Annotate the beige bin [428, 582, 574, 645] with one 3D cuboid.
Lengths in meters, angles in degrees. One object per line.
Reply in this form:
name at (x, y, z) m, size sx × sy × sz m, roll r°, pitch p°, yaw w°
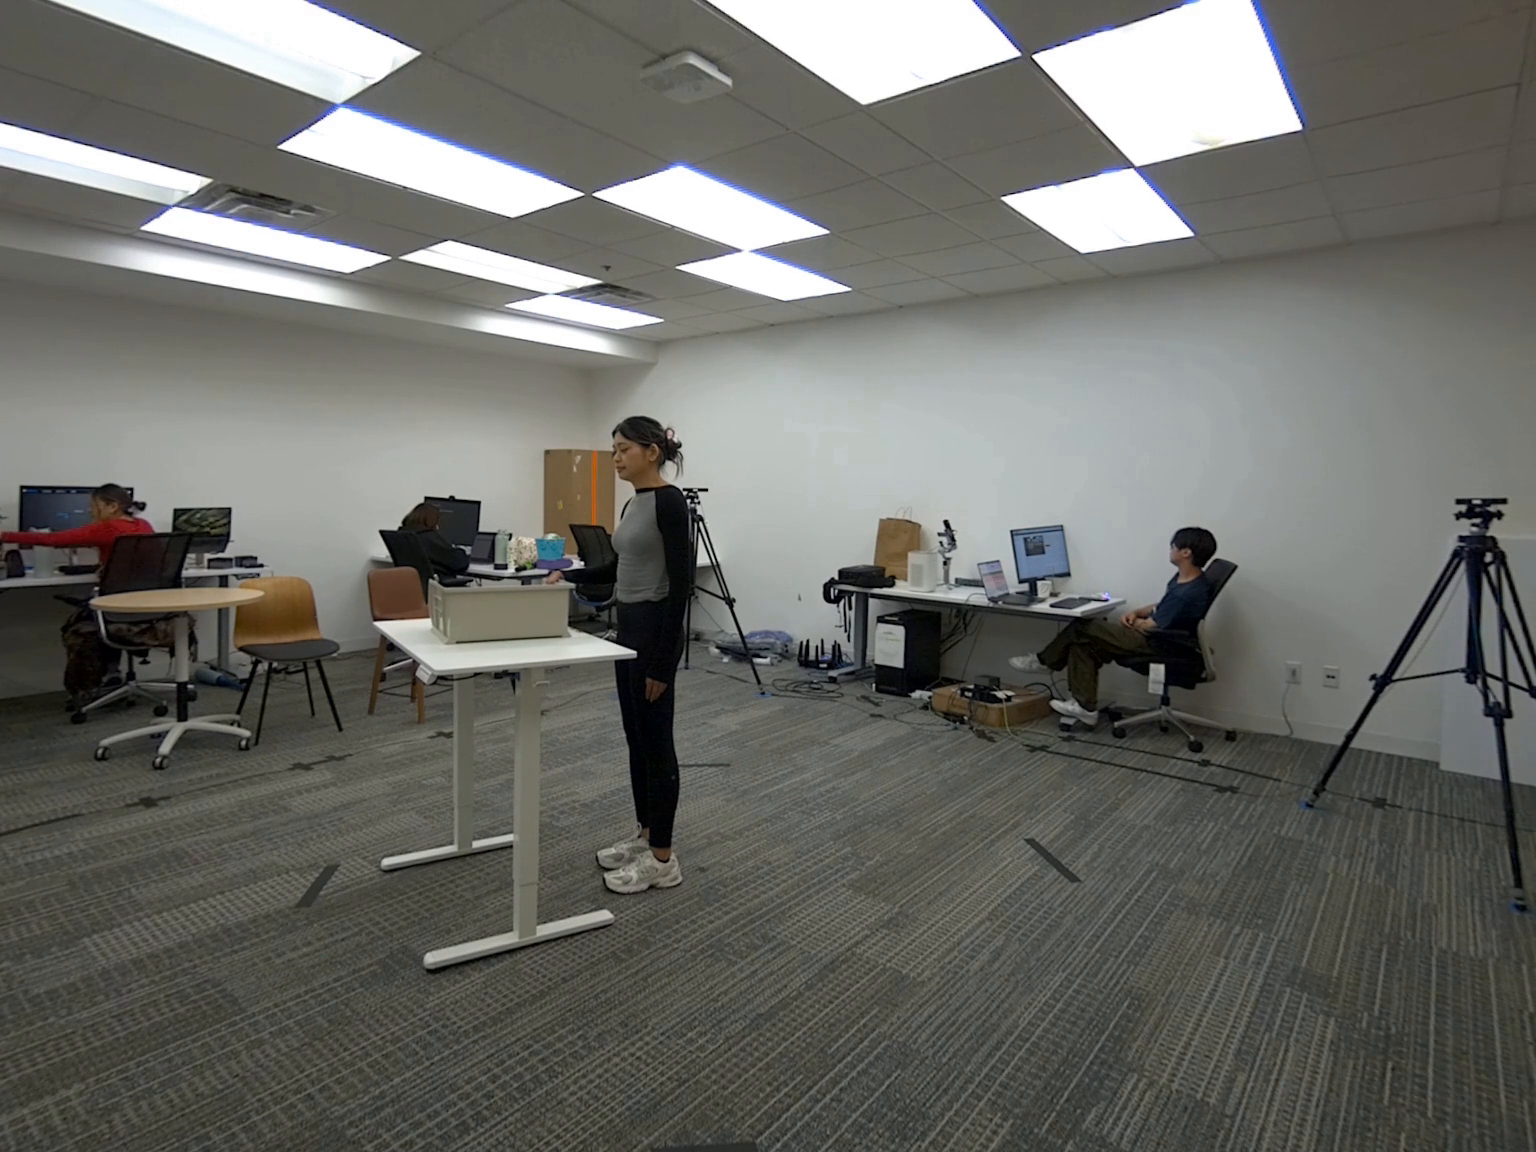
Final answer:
beige bin at (-0.939, 0.106, 2.925) m, size 0.411 × 0.188 × 0.389 m, roll -1°, pitch 7°, yaw -28°
